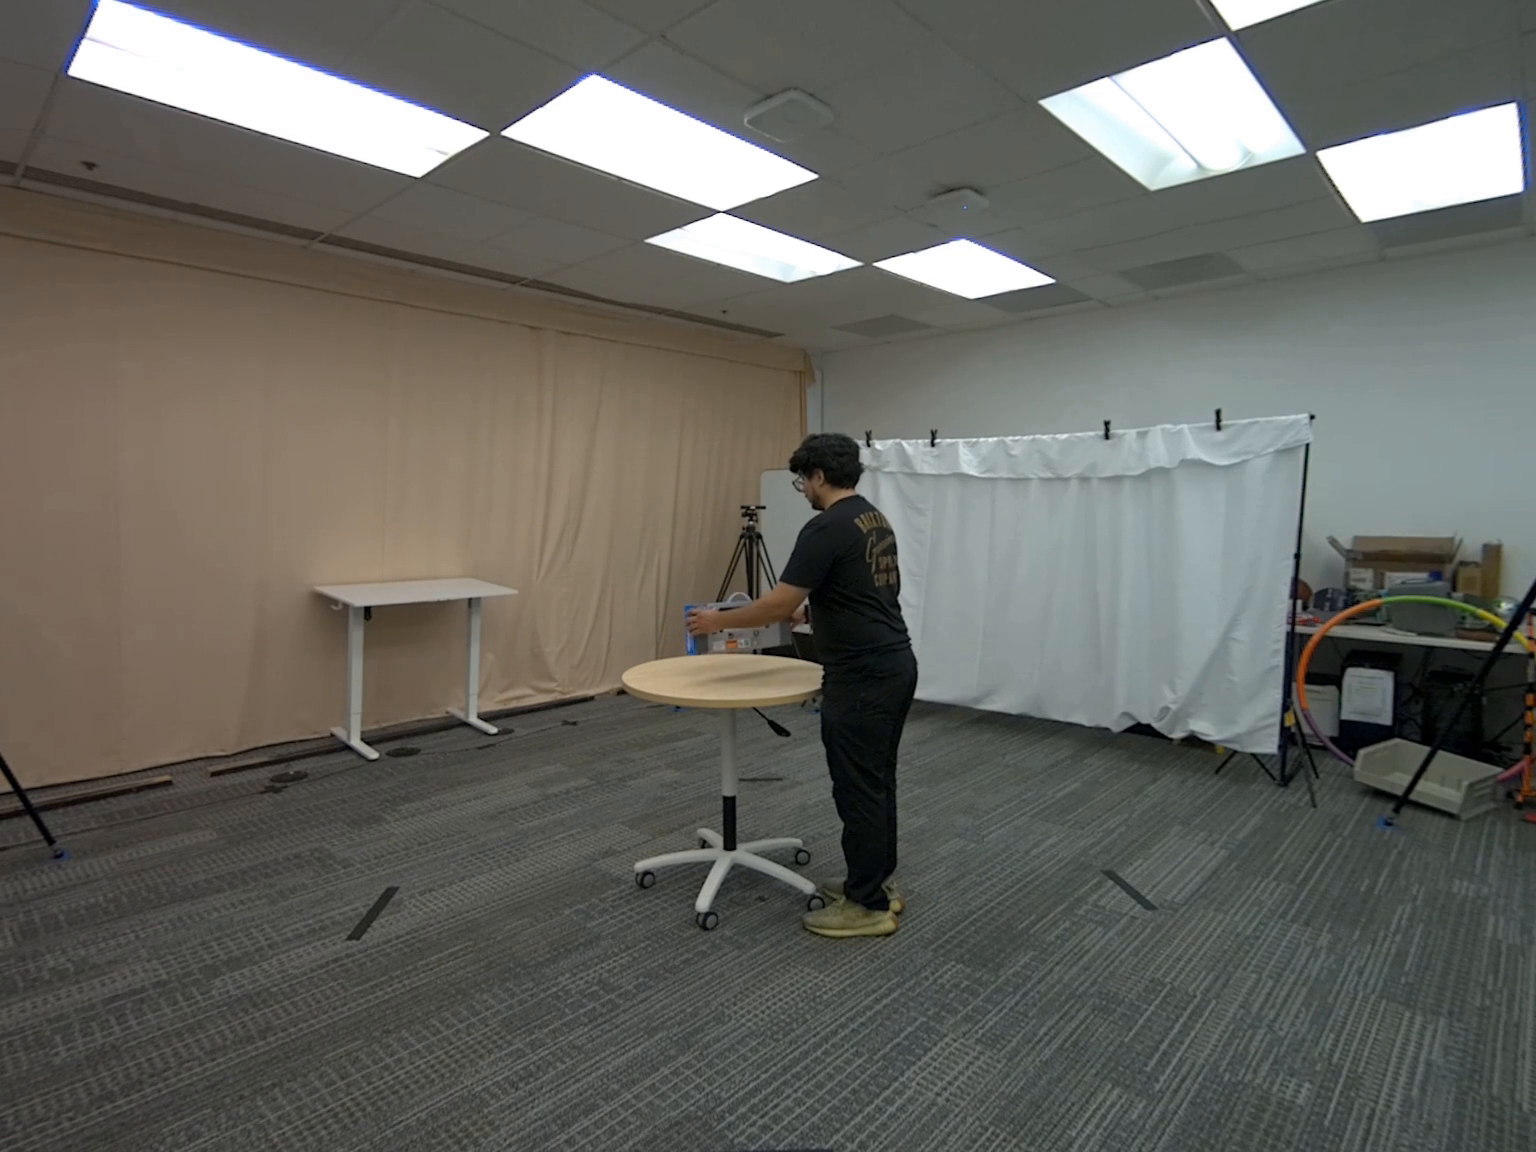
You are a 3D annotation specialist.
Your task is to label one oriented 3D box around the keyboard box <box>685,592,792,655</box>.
[{"bbox_3d":[-0.096,0.183,3.050,0.424,0.176,0.061,-2,0,-35],"label":"keyboard box"}]
